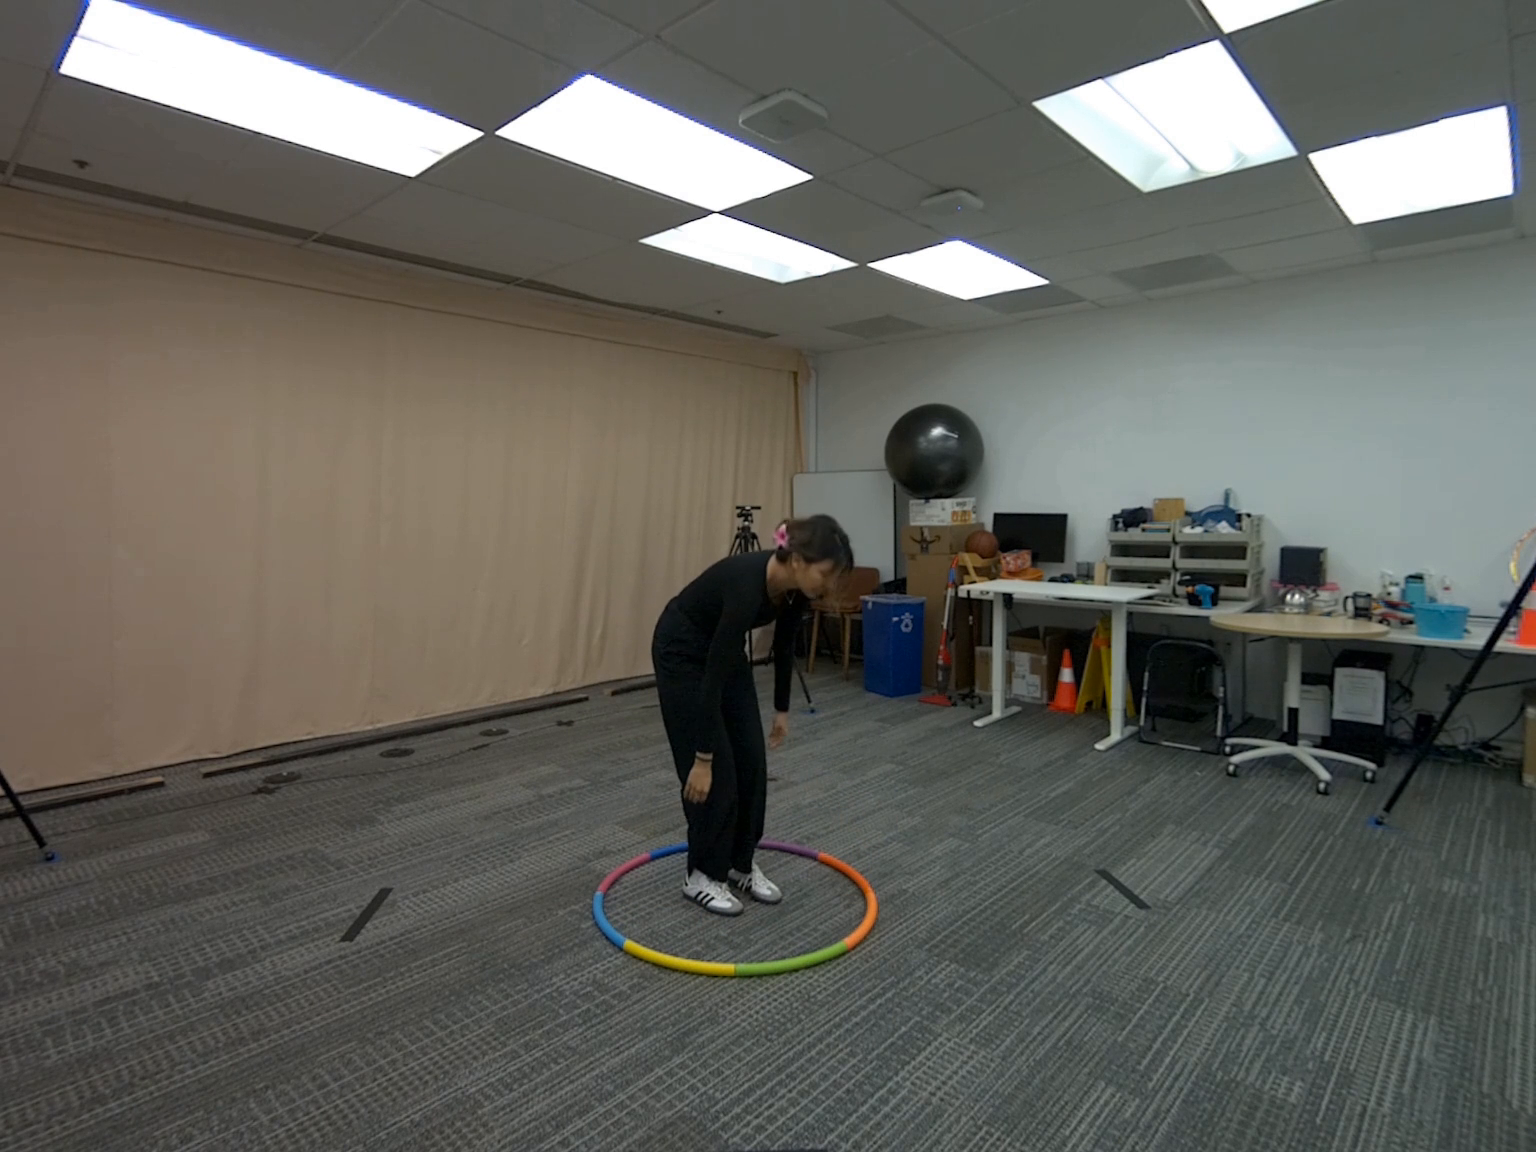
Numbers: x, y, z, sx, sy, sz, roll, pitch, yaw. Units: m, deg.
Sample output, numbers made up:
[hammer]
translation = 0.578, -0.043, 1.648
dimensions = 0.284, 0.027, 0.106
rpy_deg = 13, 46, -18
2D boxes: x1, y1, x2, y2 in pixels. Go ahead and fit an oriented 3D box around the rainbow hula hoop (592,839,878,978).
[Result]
[rainbow hula hoop]
translation = -0.117, 1.116, 2.966
dimensions = 0.978, 0.035, 0.982
rpy_deg = -1, 5, -2
